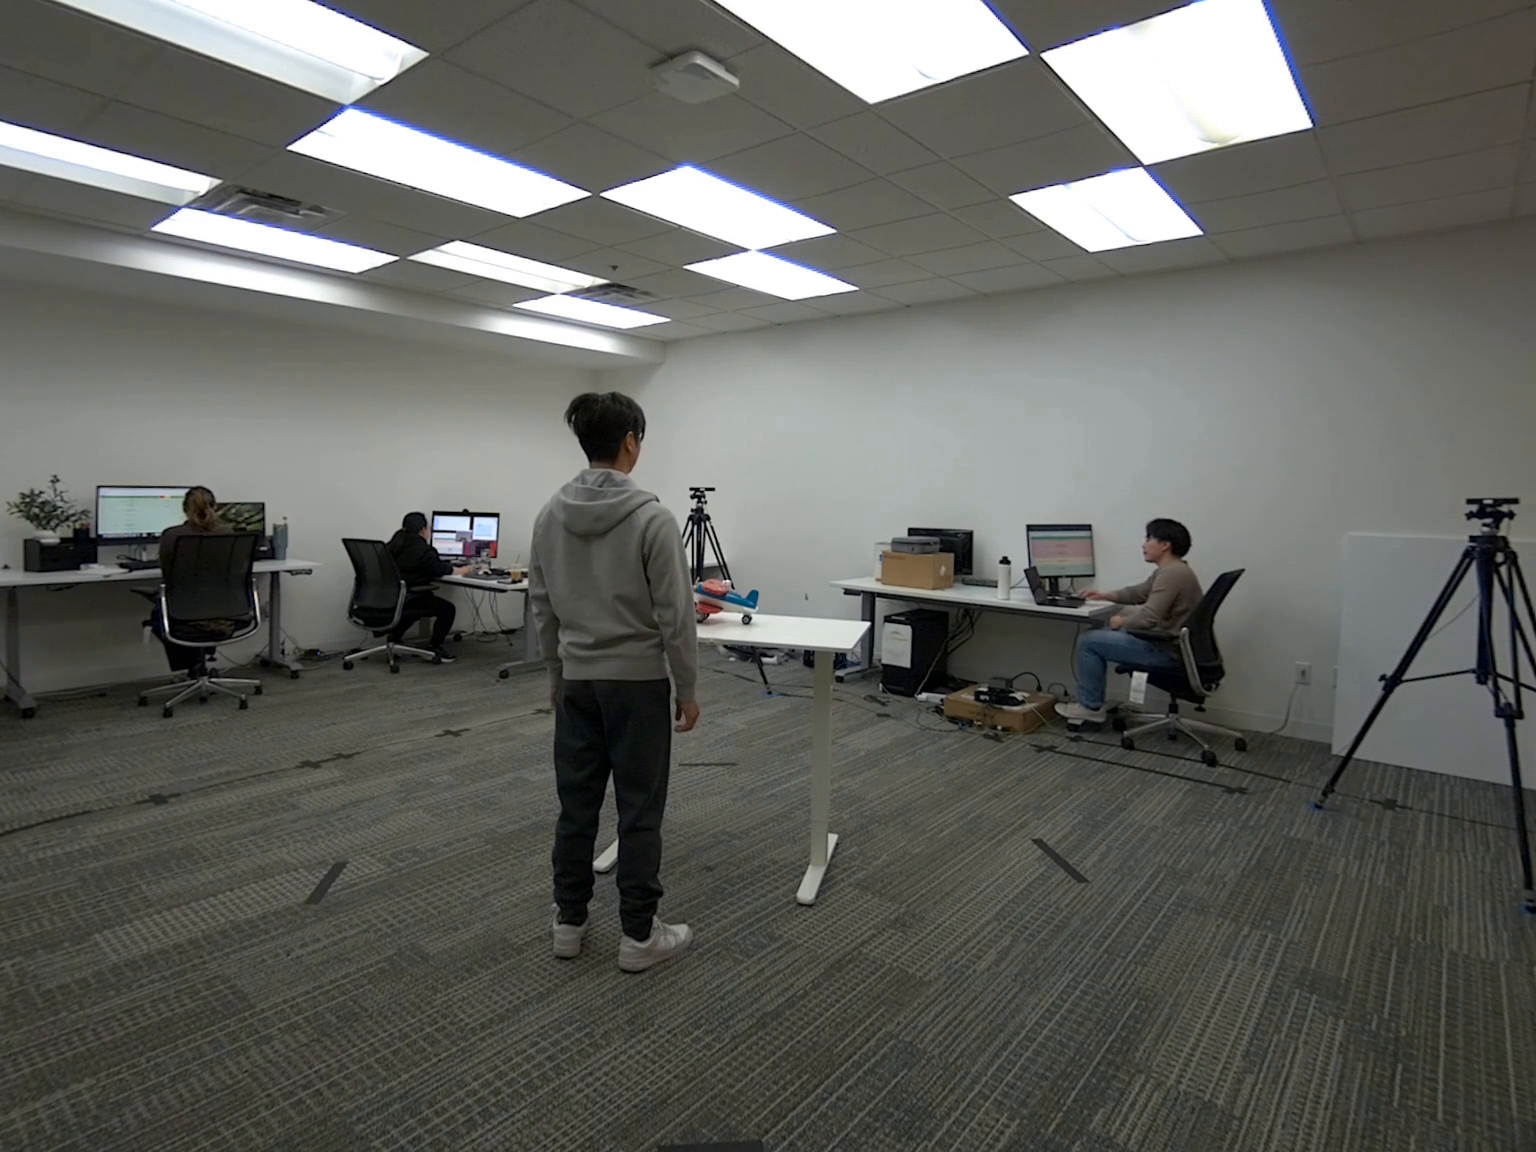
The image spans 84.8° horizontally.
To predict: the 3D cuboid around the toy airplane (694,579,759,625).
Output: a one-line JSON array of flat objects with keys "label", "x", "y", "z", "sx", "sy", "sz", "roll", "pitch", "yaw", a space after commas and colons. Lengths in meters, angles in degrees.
[{"label": "toy airplane", "x": -0.181, "y": 0.096, "z": 3.244, "sx": 0.254, "sy": 0.156, "sz": 0.257, "roll": -1, "pitch": 6, "yaw": -21}]
